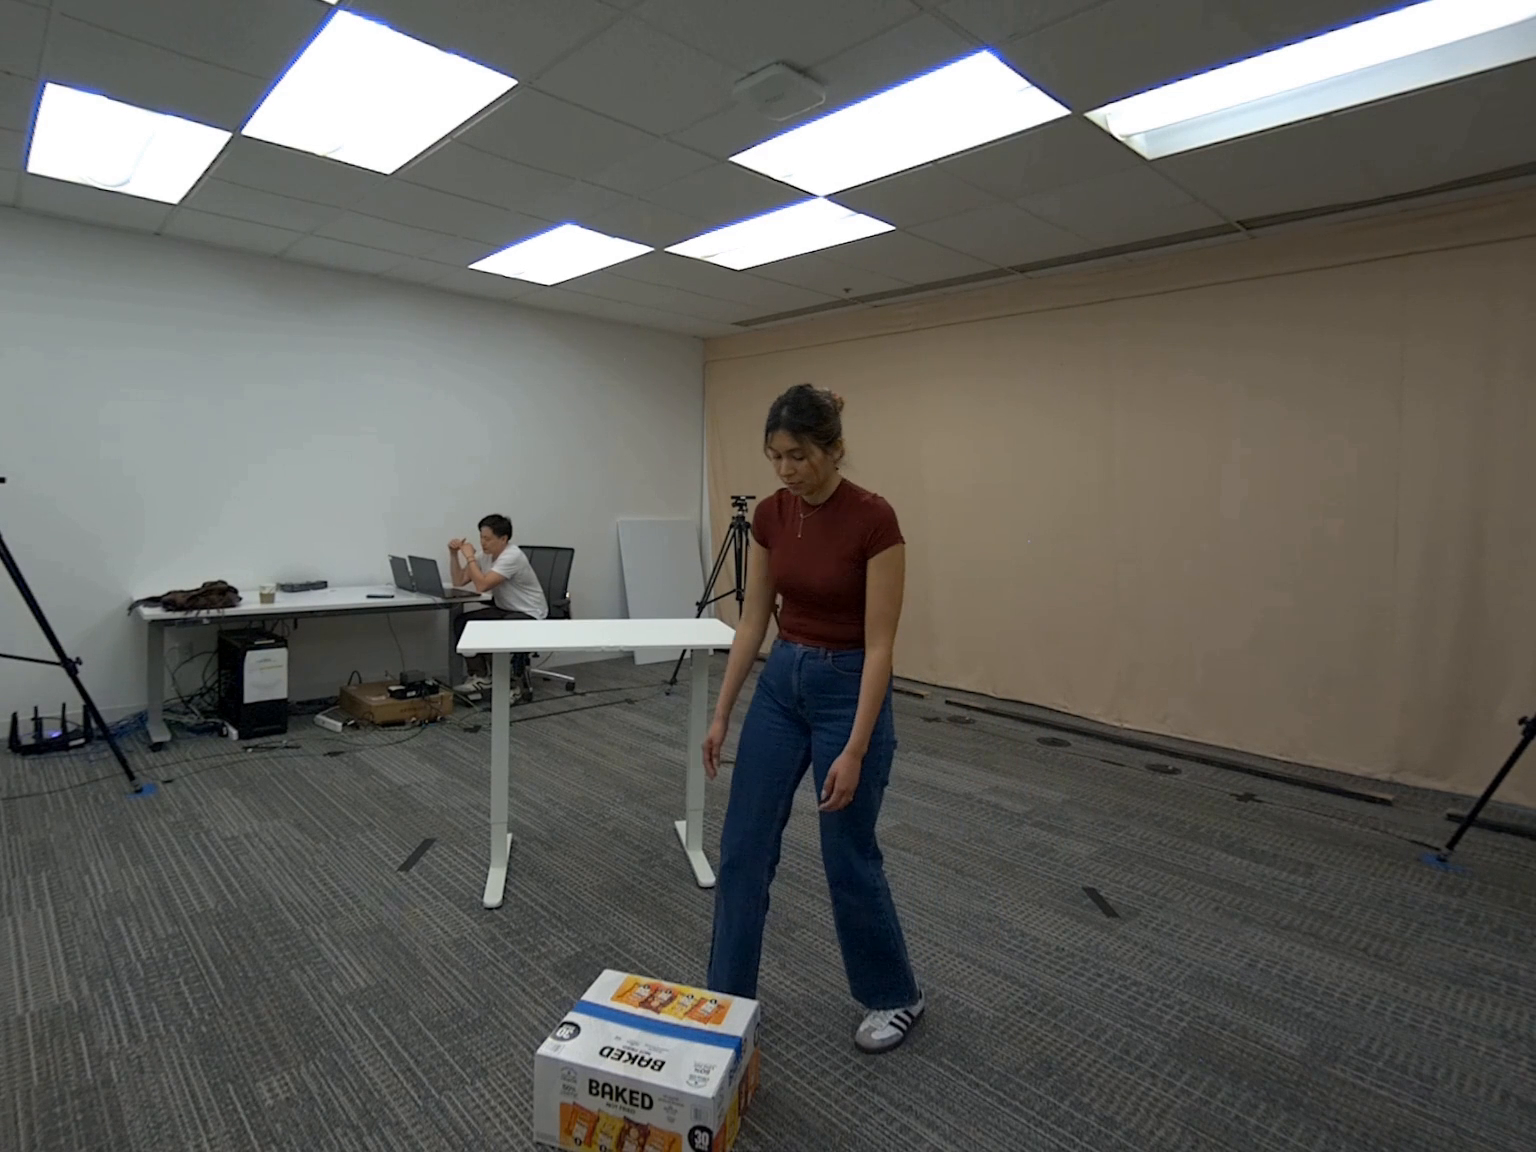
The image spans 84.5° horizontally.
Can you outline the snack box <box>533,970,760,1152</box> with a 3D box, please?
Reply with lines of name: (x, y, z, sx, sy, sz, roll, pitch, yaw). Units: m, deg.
snack box: (-0.266, 1.119, 1.878, 0.411, 0.205, 0.336, 3, 5, 17)
